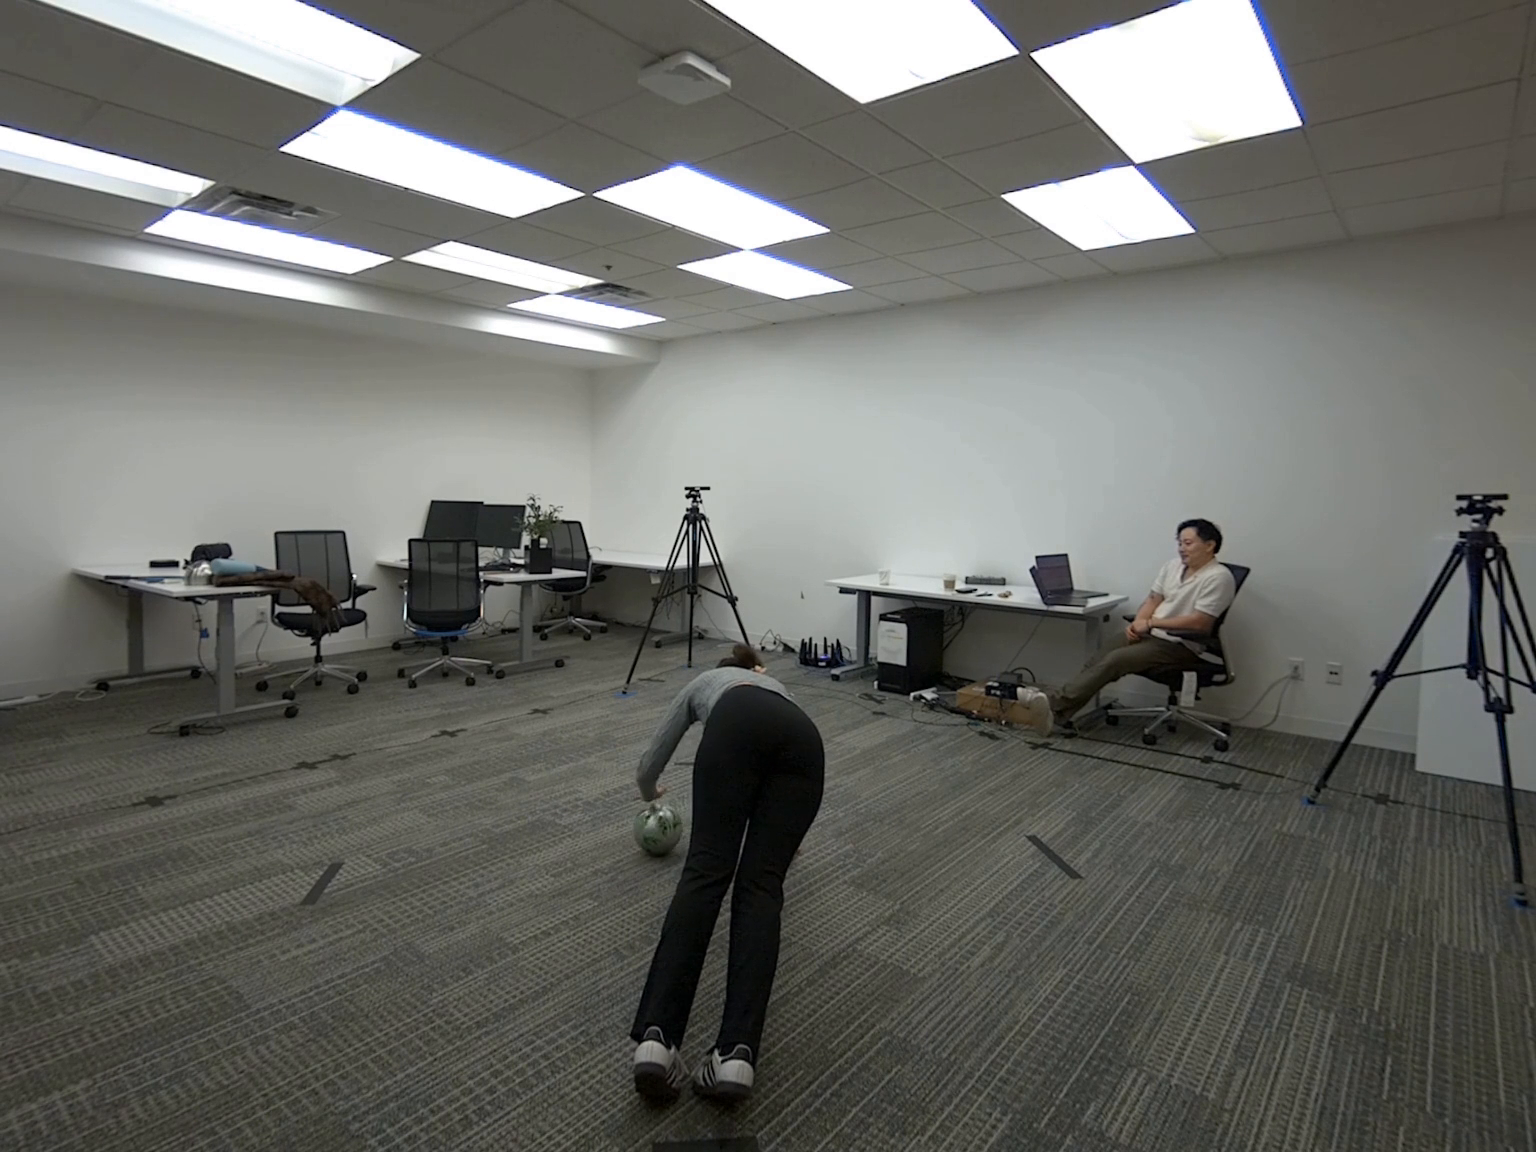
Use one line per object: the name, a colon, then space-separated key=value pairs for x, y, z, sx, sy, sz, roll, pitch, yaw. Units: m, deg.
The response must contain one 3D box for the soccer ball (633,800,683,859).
soccer ball: x=-0.422 y=0.953 z=3.230 sx=0.187 sy=0.187 sz=0.188 roll=1 pitch=4 yaw=-2
